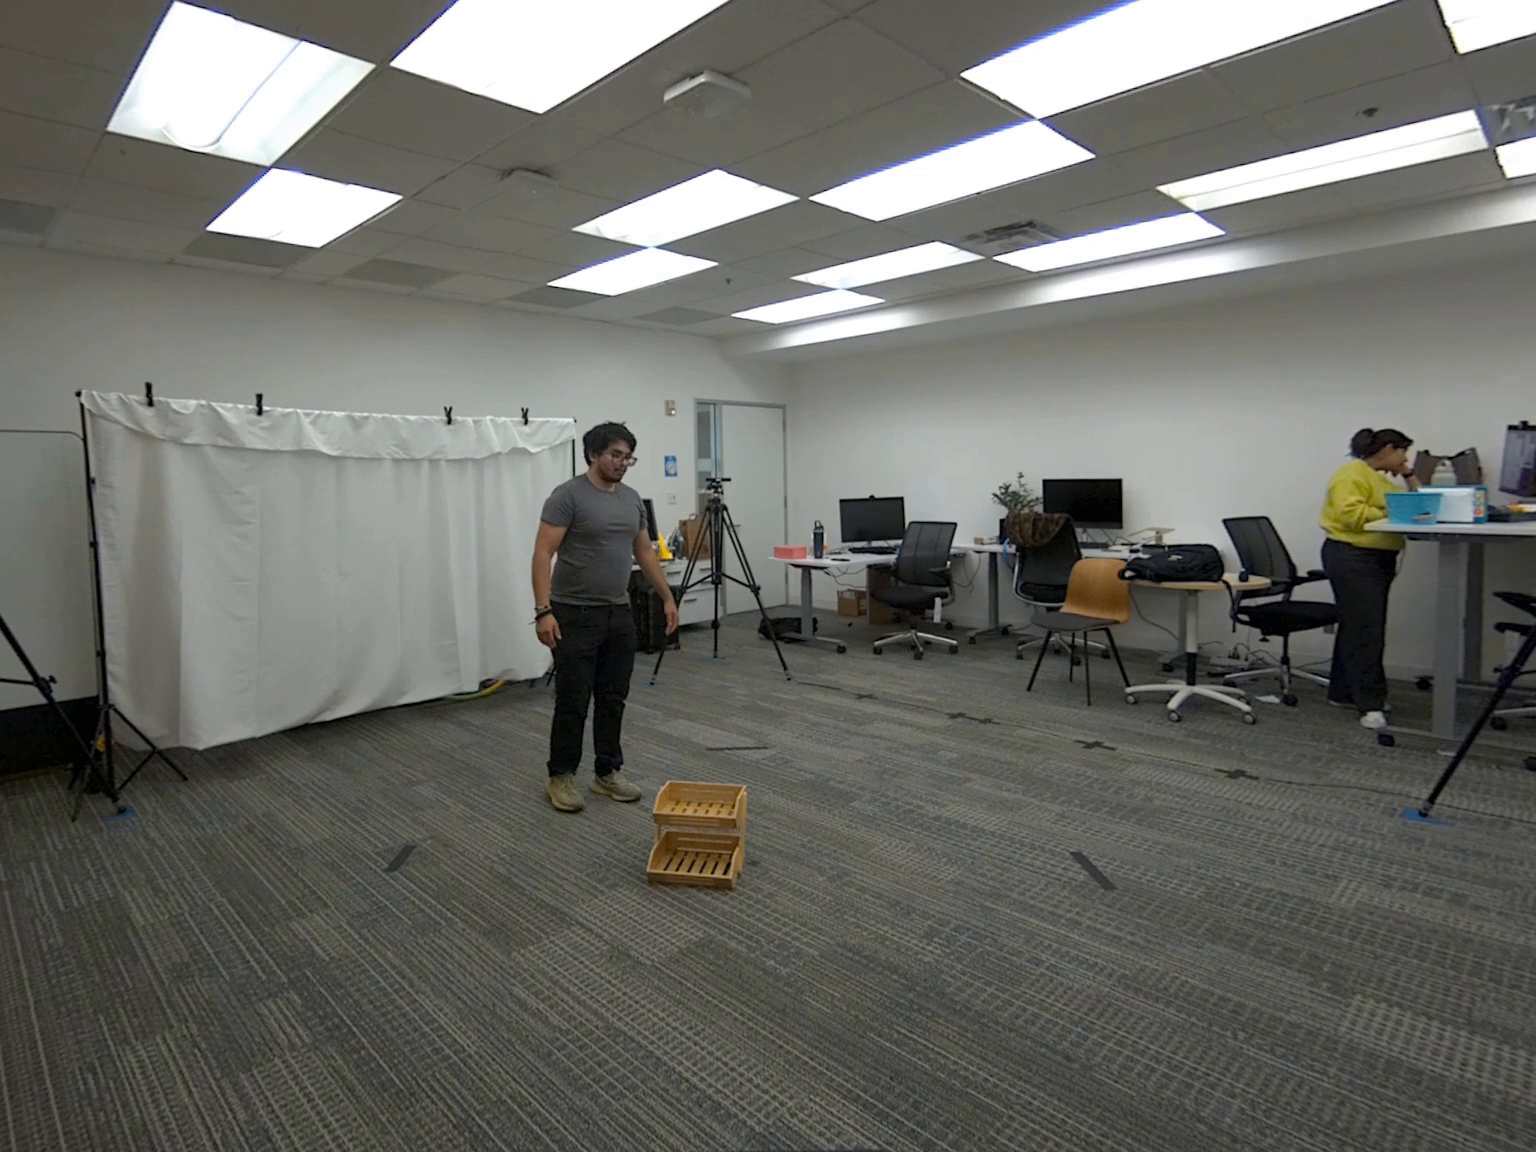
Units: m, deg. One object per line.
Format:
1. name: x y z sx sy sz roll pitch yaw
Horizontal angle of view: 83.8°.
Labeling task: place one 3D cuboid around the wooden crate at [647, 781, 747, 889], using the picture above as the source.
1. wooden crate: -0.248 0.916 3.054 0.328 0.272 0.300 0 4 10
